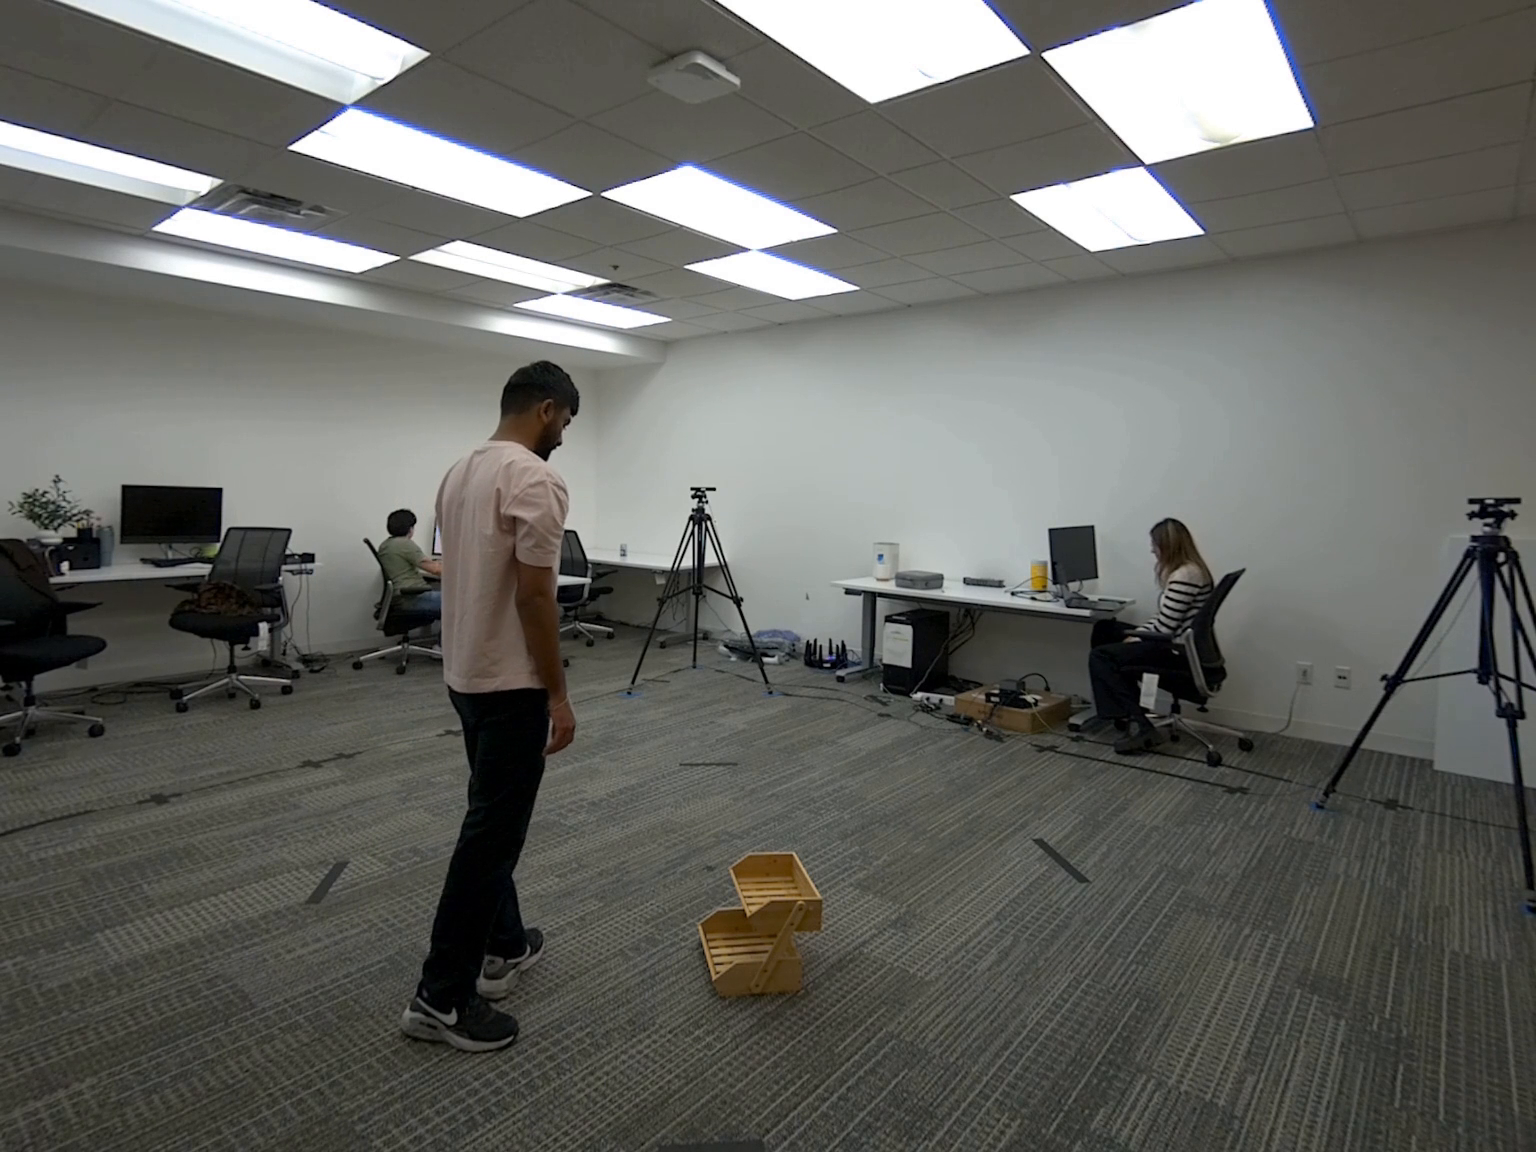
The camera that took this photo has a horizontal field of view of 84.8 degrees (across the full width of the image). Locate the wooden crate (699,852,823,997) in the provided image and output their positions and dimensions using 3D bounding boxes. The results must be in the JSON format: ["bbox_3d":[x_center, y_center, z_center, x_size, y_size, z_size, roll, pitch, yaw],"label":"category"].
[{"bbox_3d":[-0.042,0.999,2.476,0.298,0.272,0.330,1,5,-13],"label":"wooden crate"}]
